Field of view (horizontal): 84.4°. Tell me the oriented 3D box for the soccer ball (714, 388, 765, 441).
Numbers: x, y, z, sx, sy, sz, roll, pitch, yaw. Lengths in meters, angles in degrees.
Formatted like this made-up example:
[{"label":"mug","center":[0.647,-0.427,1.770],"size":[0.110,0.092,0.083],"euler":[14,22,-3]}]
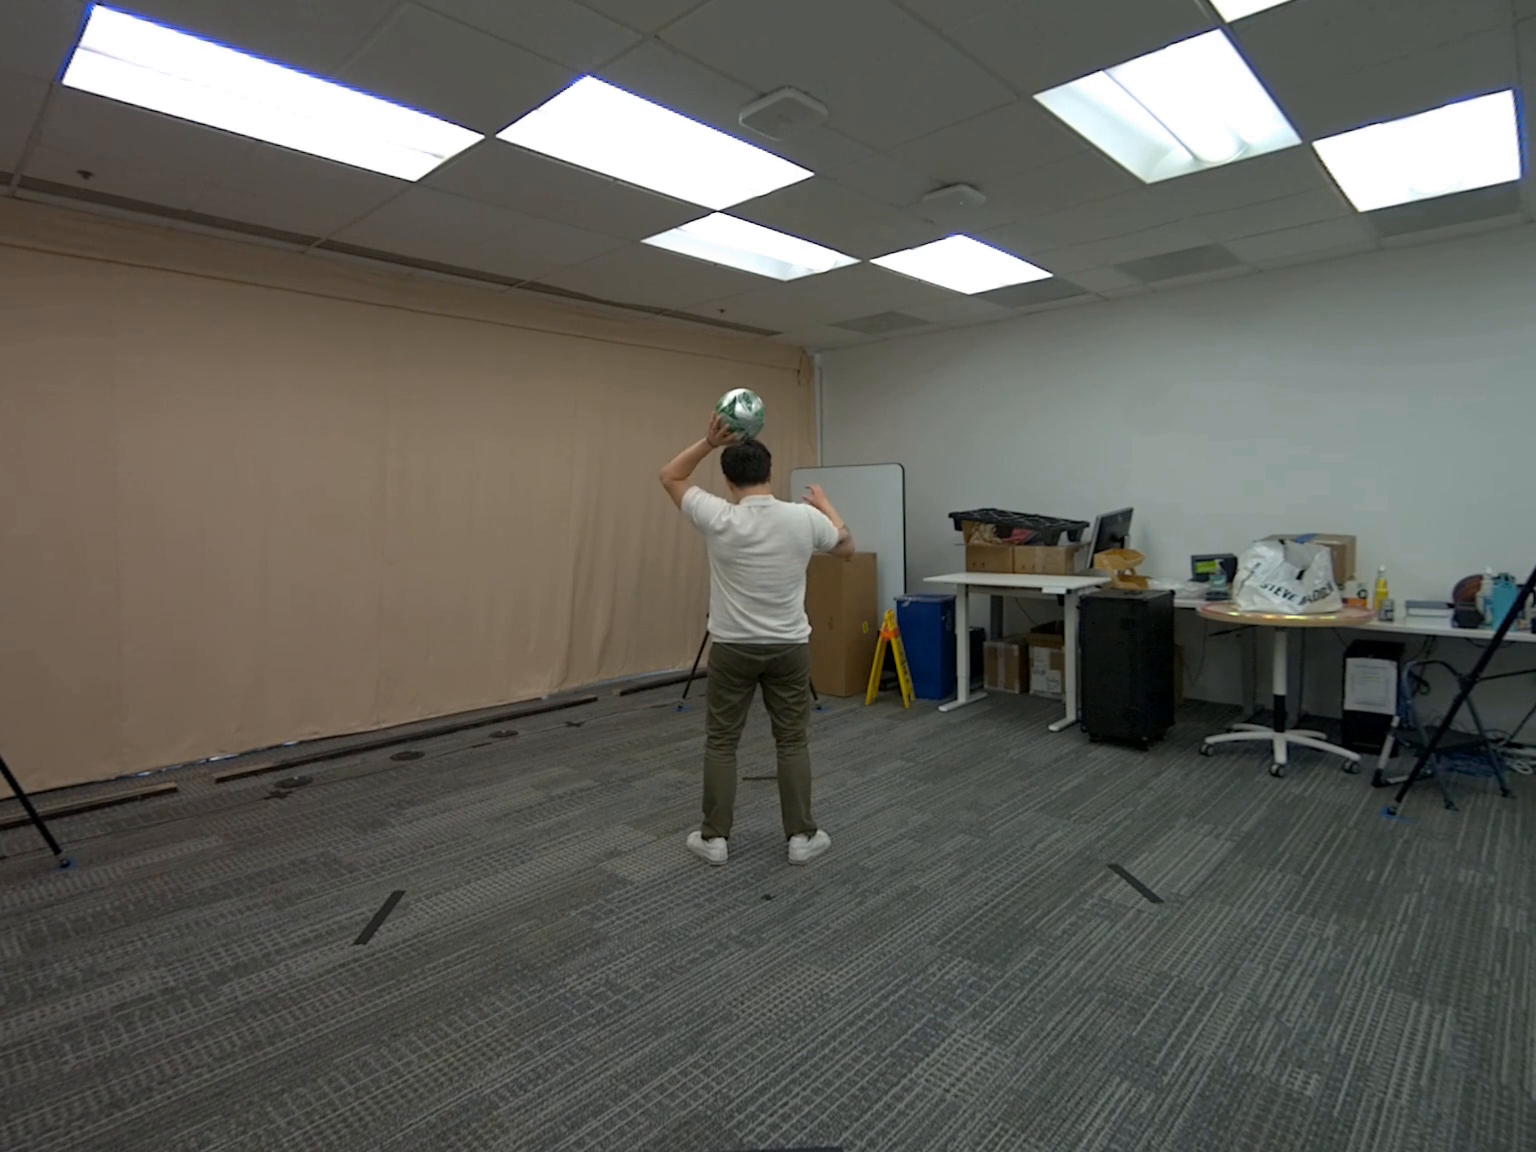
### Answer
[{"label":"soccer ball","center":[-0.100,-0.576,3.050],"size":[0.187,0.187,0.188],"euler":[-1,4,-2]}]
